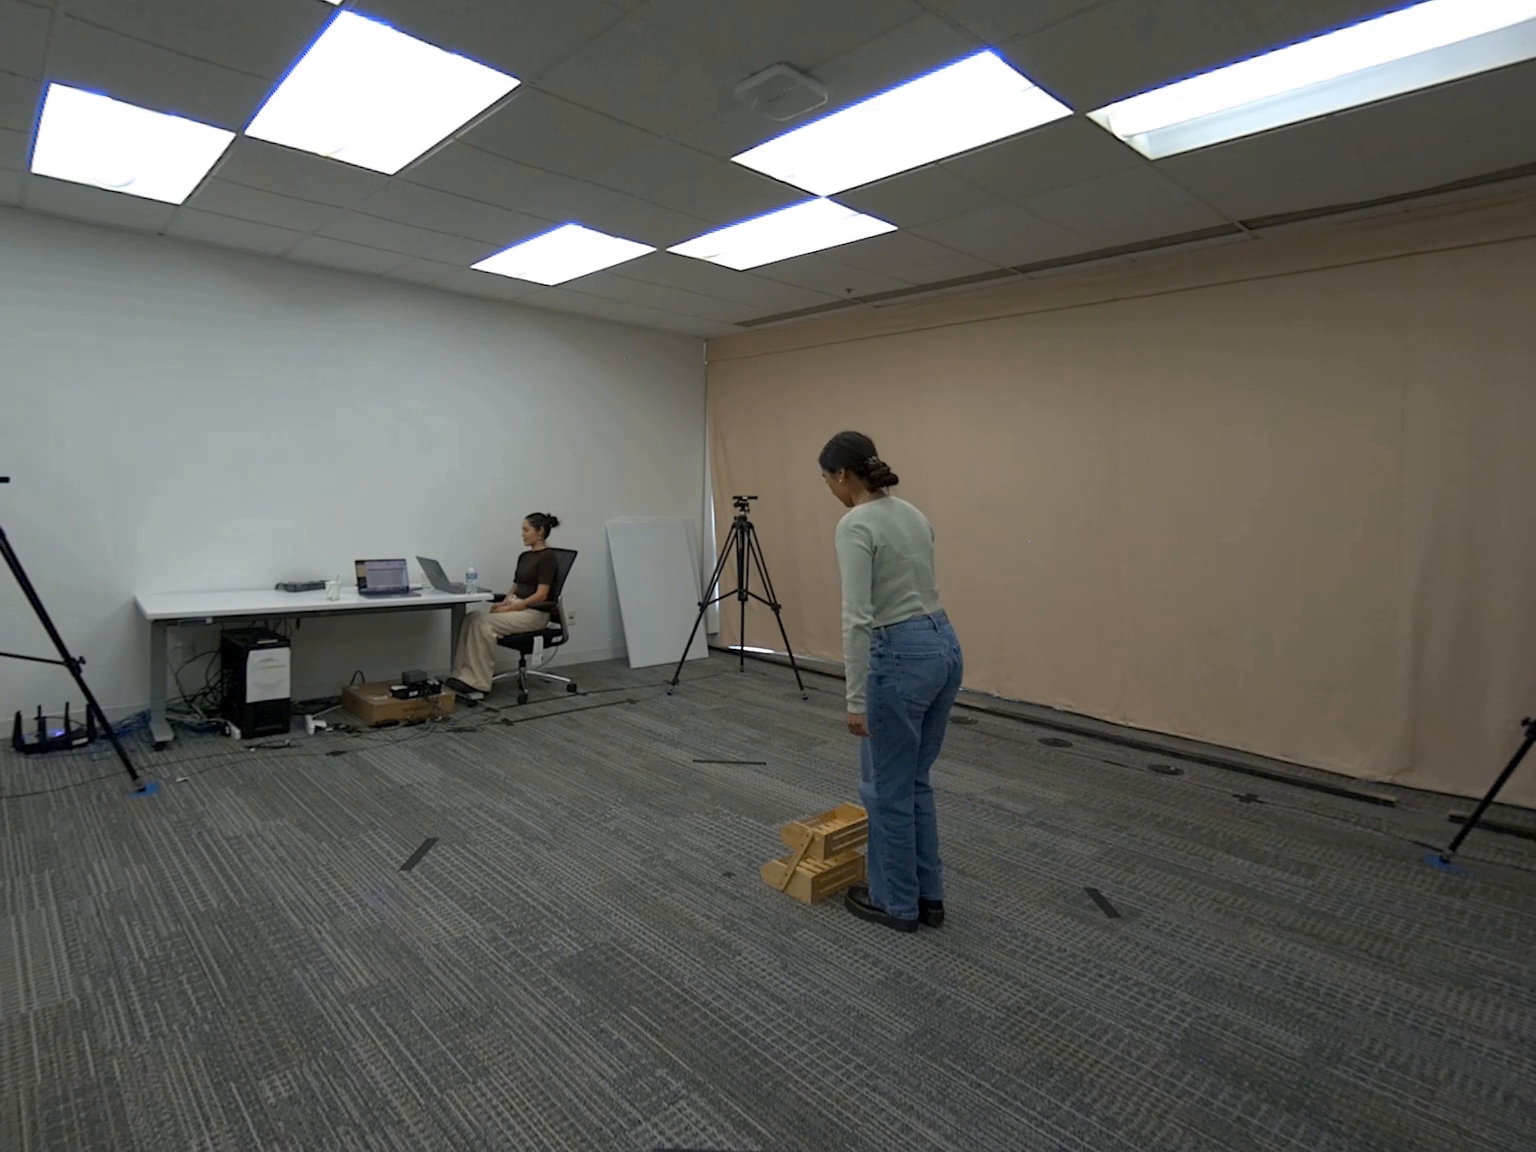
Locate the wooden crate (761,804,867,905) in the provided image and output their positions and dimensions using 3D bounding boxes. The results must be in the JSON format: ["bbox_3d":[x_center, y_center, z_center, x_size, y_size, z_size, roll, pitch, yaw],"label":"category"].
[{"bbox_3d":[0.176,0.980,3.057,0.310,0.272,0.317,6,6,44],"label":"wooden crate"}]
